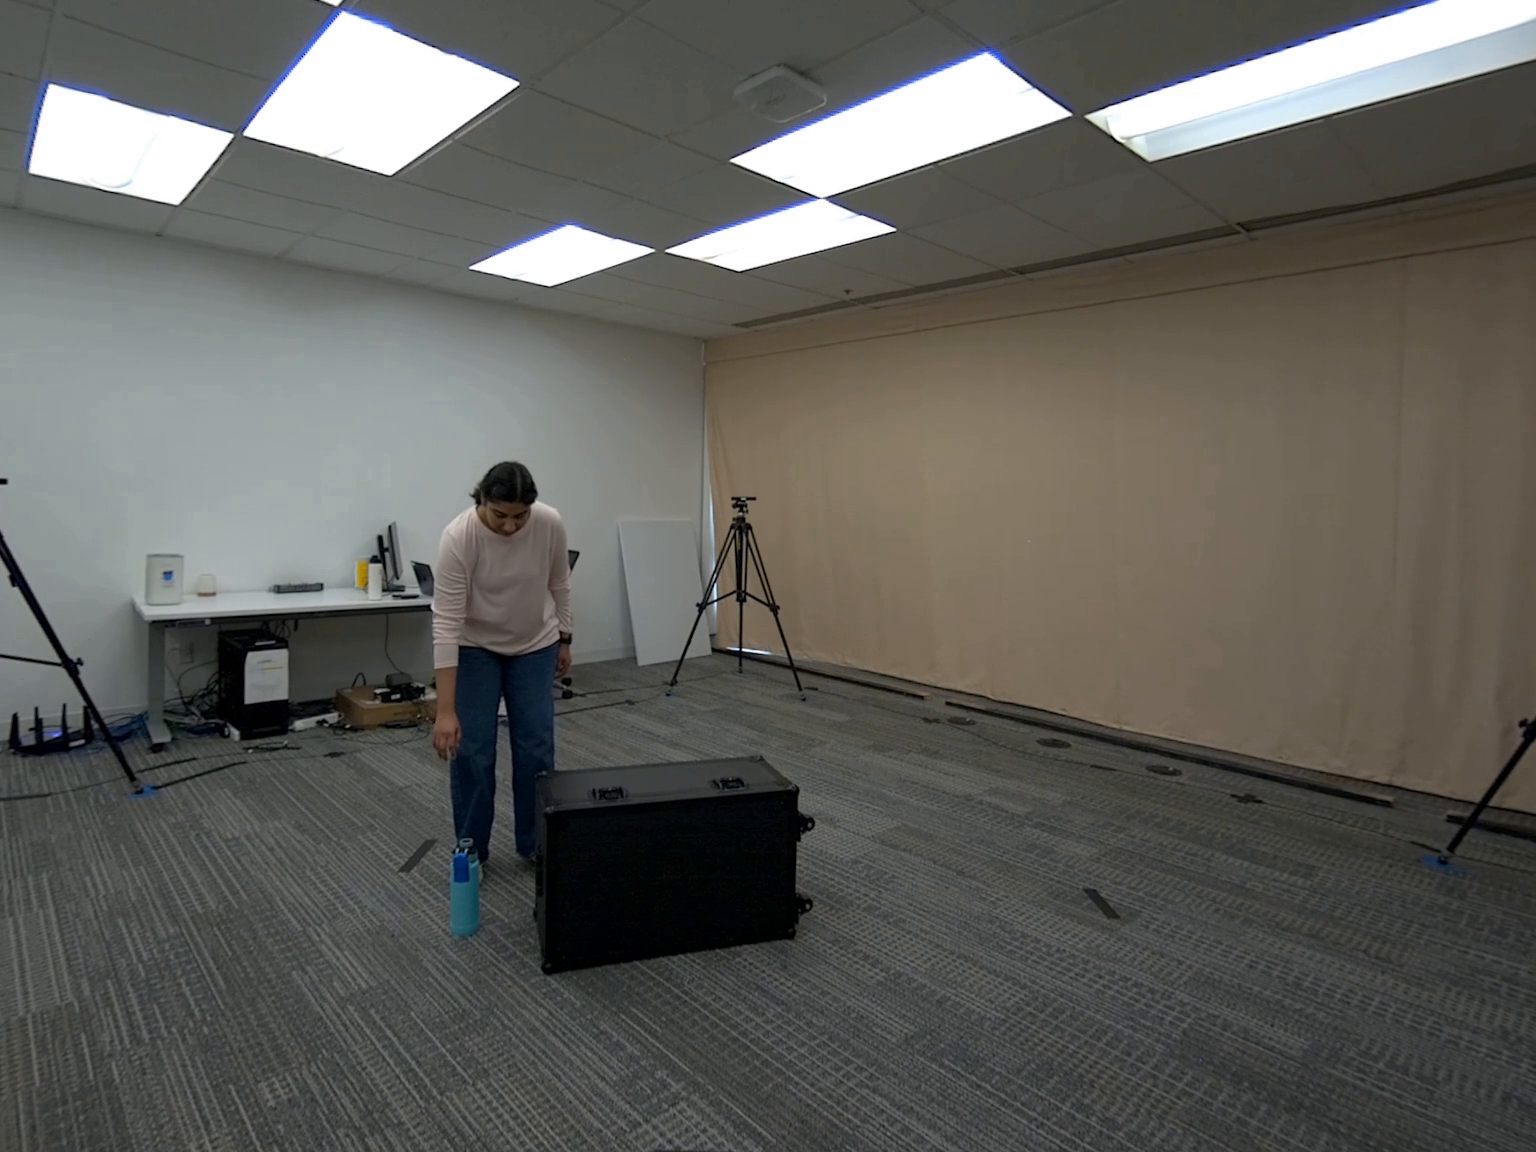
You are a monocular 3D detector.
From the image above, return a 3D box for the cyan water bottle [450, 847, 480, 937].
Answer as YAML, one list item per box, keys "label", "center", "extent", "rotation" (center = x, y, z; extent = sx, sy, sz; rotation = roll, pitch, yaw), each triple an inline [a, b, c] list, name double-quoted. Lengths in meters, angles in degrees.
- label: "cyan water bottle"
  center: [-0.967, 0.983, 2.675]
  extent: [0.092, 0.282, 0.093]
  rotation: [3, 6, -2]
